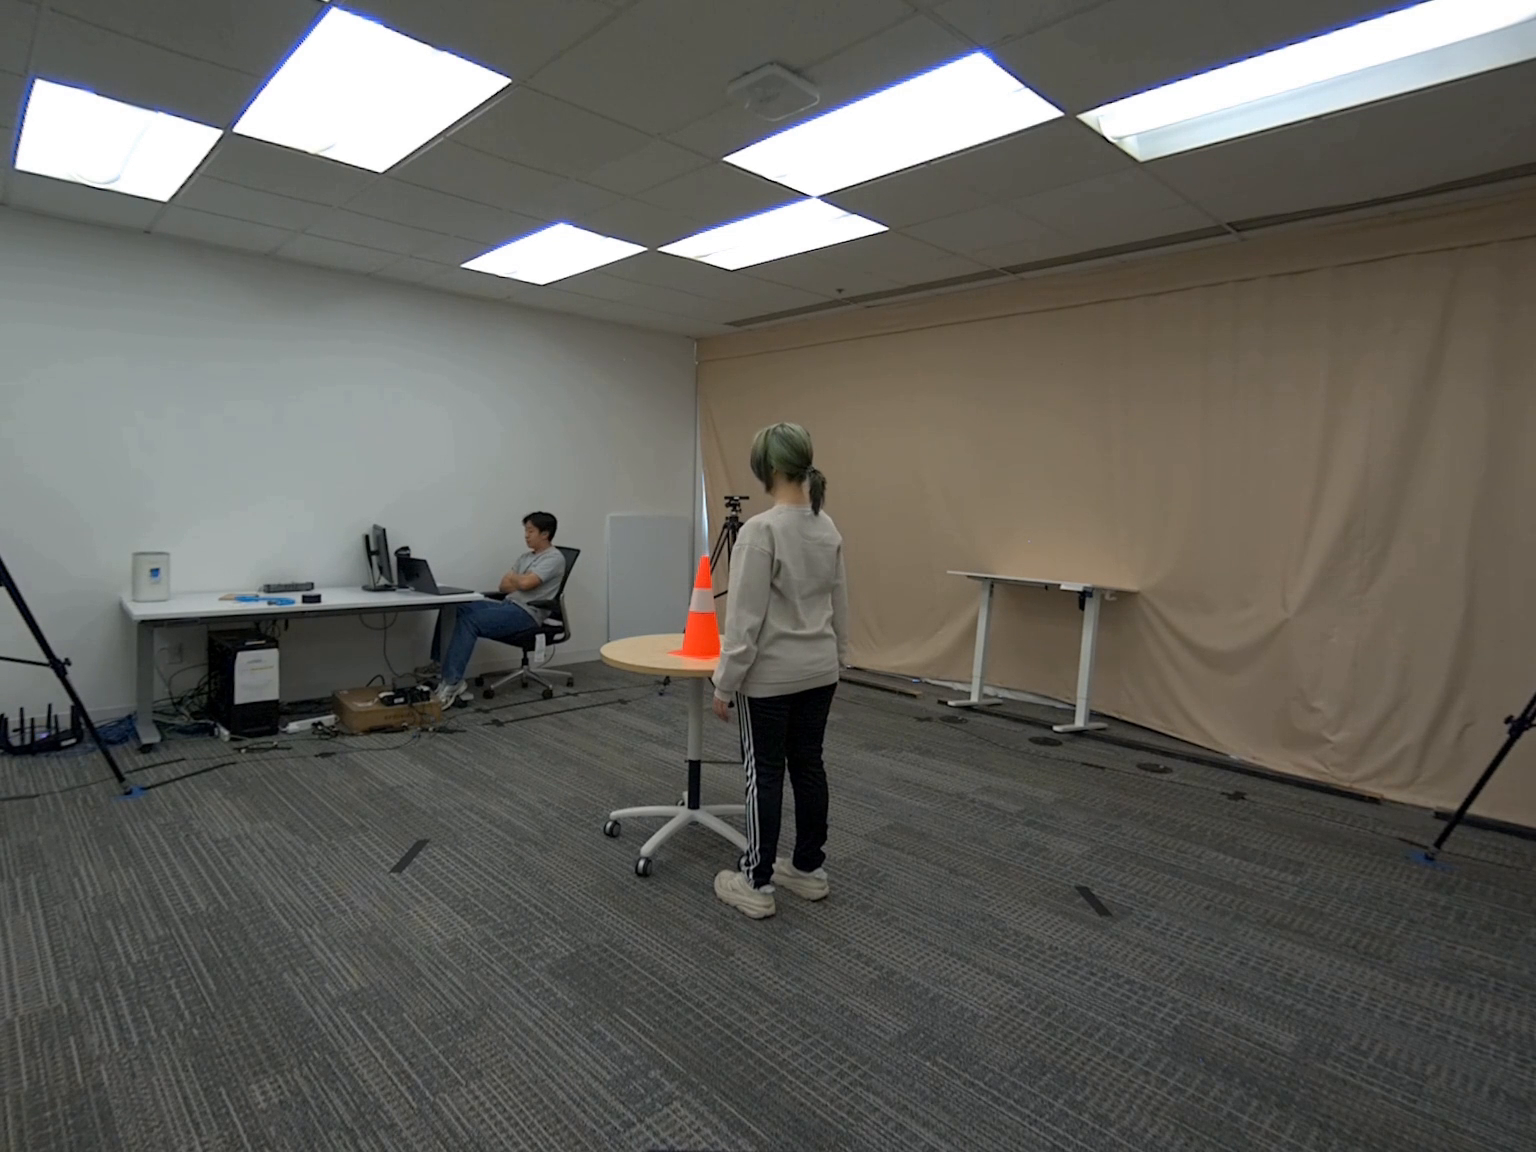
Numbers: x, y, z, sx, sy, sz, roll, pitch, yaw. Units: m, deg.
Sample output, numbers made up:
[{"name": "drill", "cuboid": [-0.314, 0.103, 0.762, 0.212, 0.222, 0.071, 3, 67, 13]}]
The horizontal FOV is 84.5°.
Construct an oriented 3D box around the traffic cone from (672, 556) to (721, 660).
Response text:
[{"name": "traffic cone", "cuboid": [-0.259, 0.116, 3.275, 0.208, 0.383, 0.200, 4, 3, 37]}]
